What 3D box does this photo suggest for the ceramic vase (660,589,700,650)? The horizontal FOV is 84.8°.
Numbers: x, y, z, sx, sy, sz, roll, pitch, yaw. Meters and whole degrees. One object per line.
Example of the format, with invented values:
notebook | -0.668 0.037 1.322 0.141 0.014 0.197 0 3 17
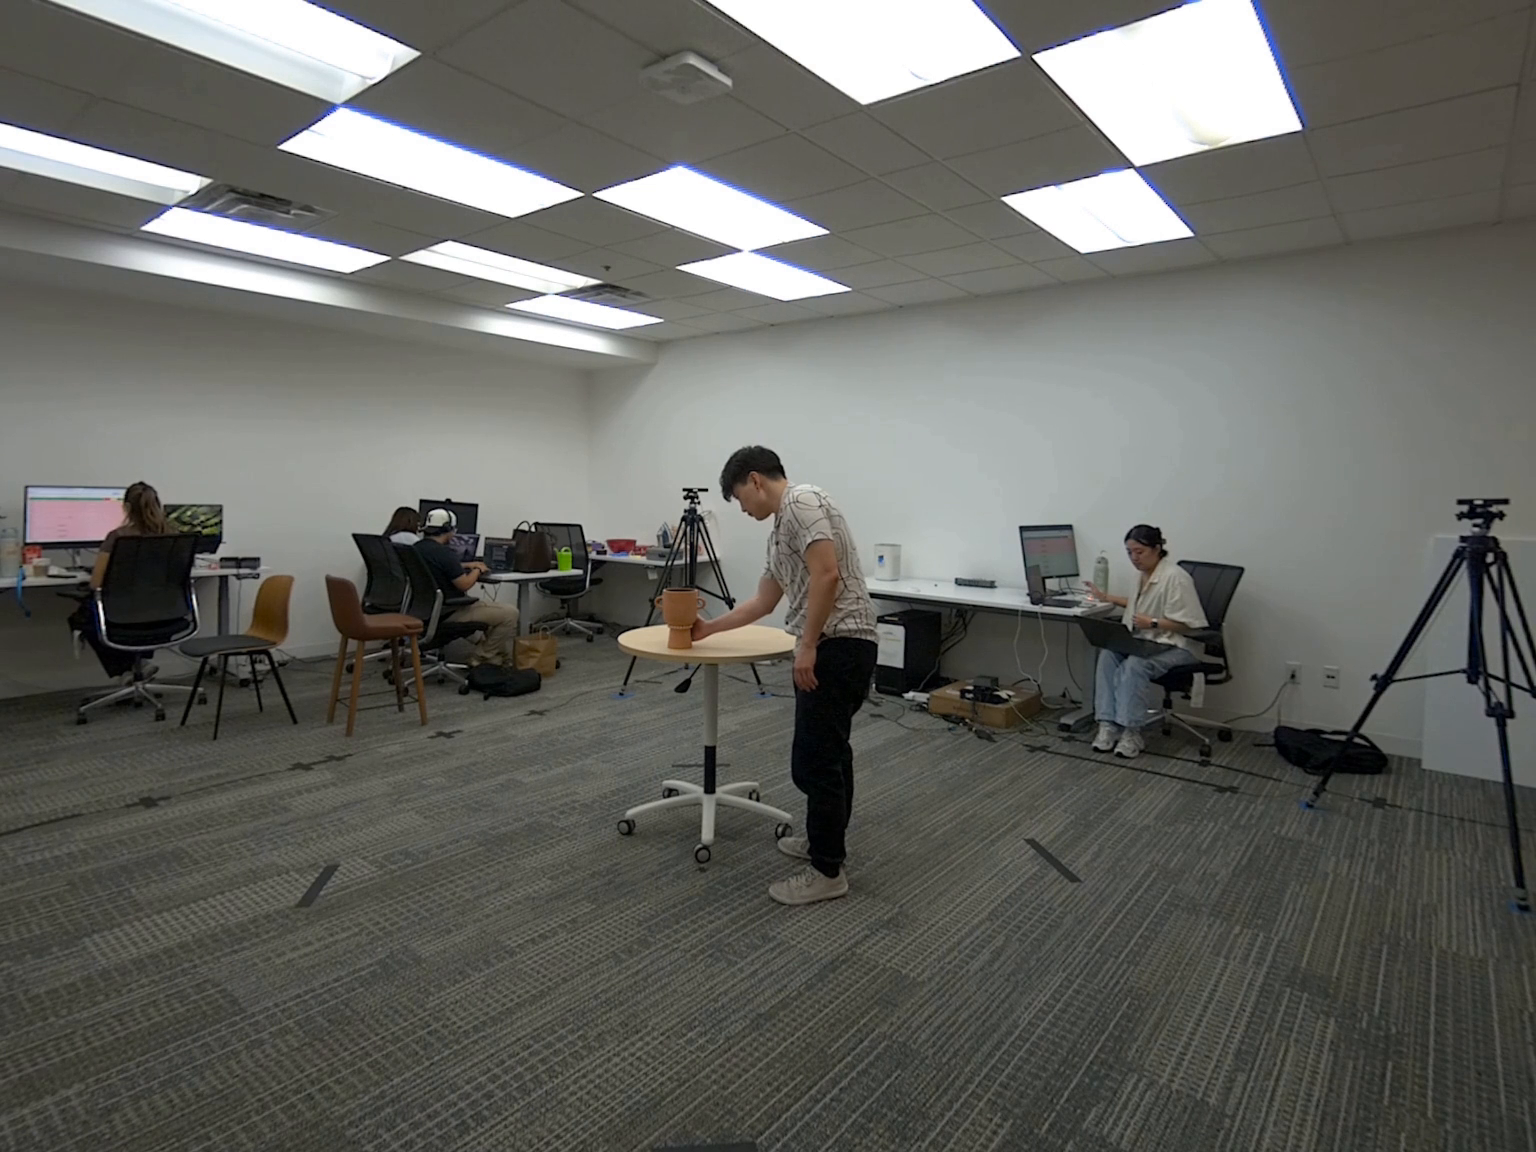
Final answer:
ceramic vase | -0.352 0.161 3.278 0.164 0.219 0.130 5 6 45
